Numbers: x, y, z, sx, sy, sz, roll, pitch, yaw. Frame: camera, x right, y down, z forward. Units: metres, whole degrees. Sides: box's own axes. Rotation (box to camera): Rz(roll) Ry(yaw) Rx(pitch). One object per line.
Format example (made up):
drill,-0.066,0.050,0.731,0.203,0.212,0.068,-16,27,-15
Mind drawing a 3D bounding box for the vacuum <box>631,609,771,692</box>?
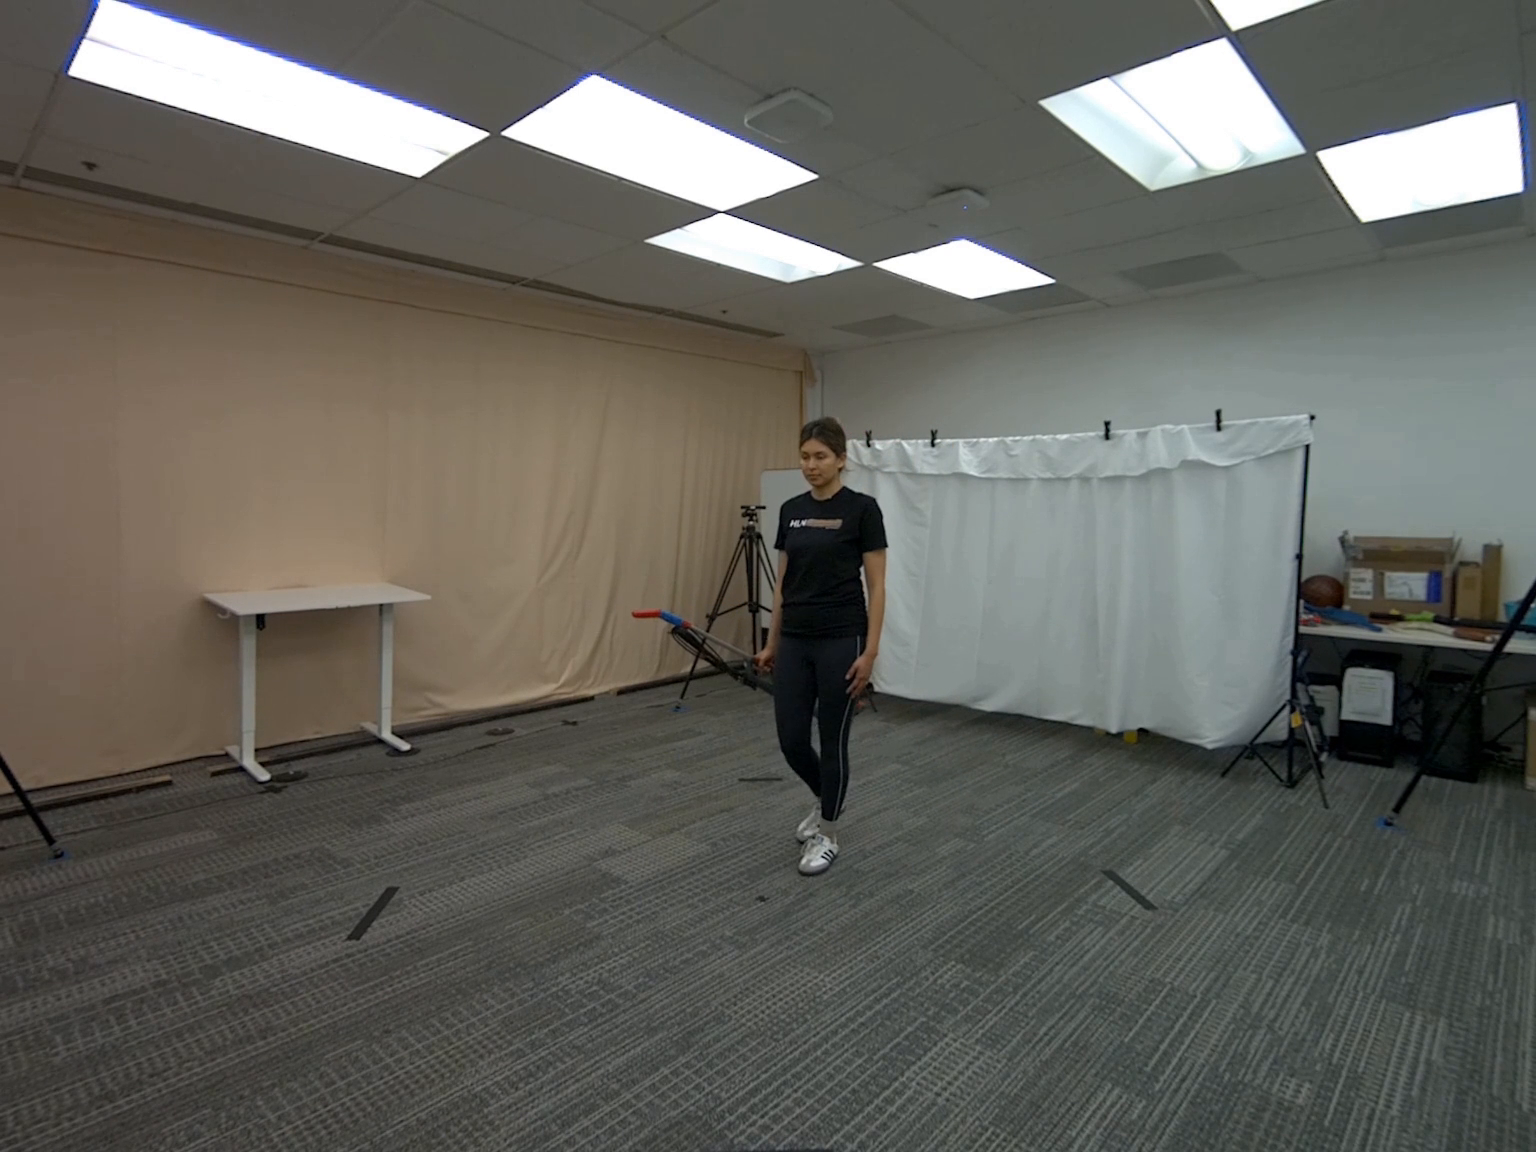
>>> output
vacuum,-0.103,0.362,3.361,1.019,0.144,0.260,29,-7,-26
